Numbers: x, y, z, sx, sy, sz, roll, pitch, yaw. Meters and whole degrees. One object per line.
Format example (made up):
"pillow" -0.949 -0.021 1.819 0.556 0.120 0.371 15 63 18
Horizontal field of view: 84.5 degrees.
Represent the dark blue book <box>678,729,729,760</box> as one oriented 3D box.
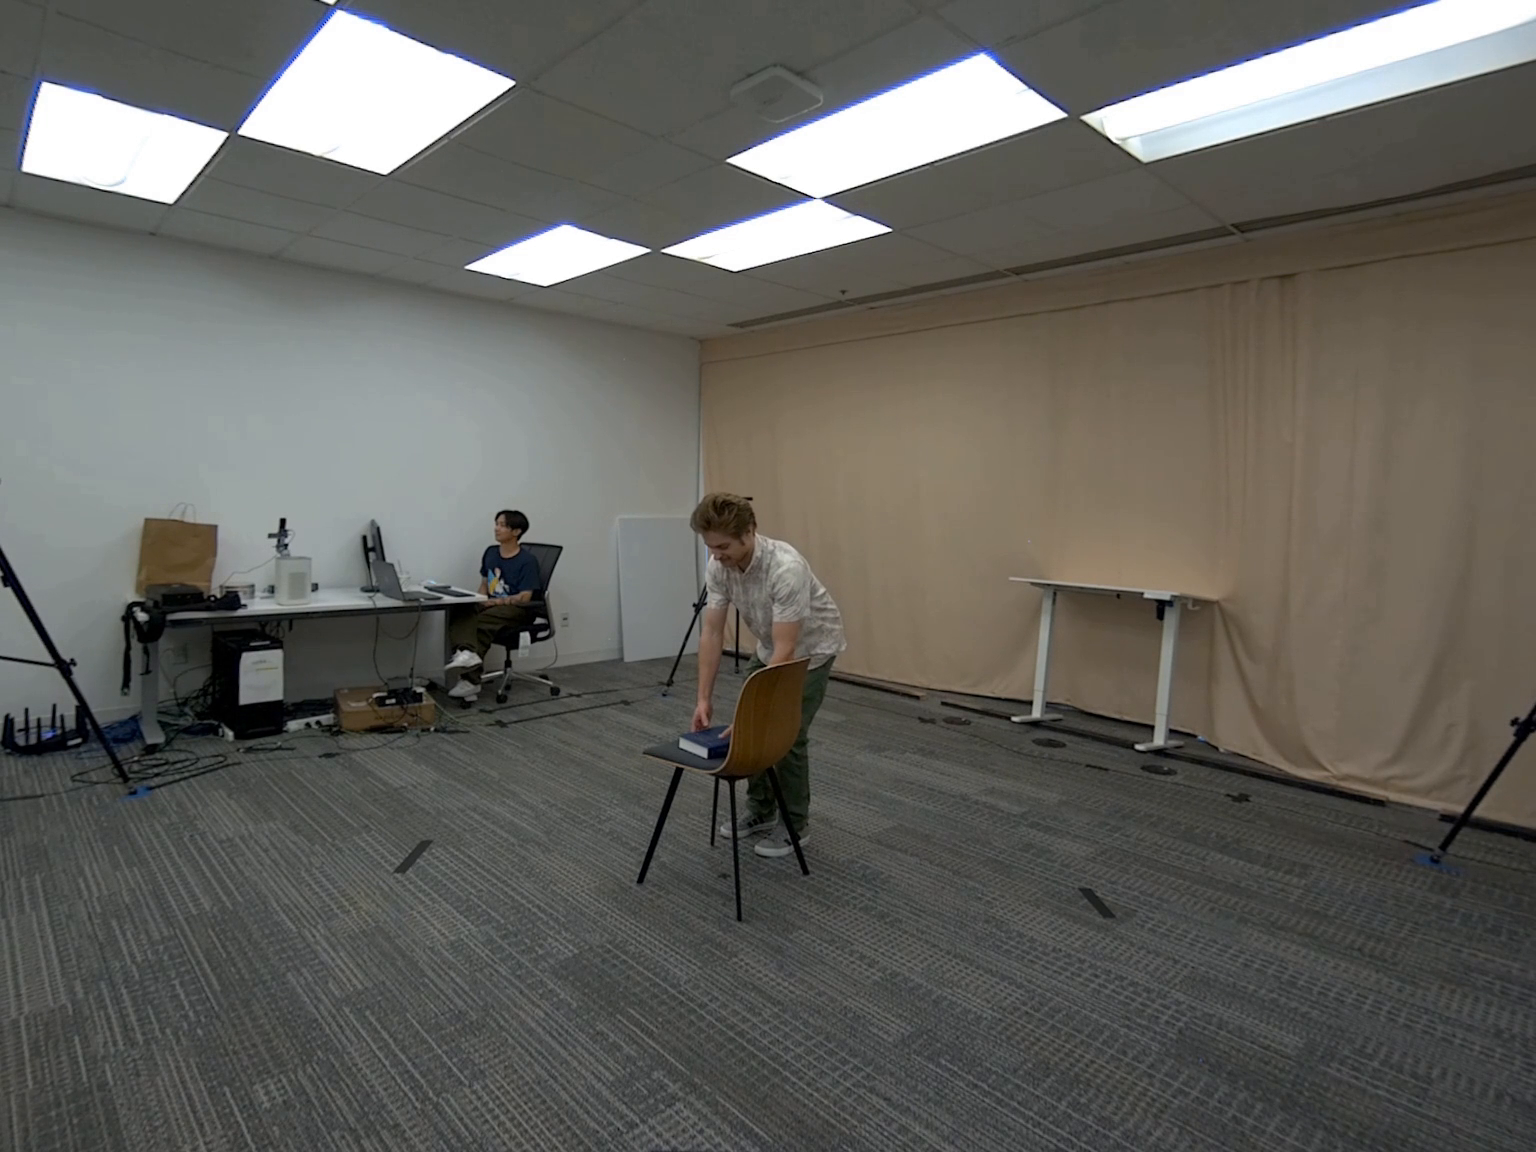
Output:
"dark blue book" -0.195 0.599 3.071 0.168 0.045 0.239 10 9 44
